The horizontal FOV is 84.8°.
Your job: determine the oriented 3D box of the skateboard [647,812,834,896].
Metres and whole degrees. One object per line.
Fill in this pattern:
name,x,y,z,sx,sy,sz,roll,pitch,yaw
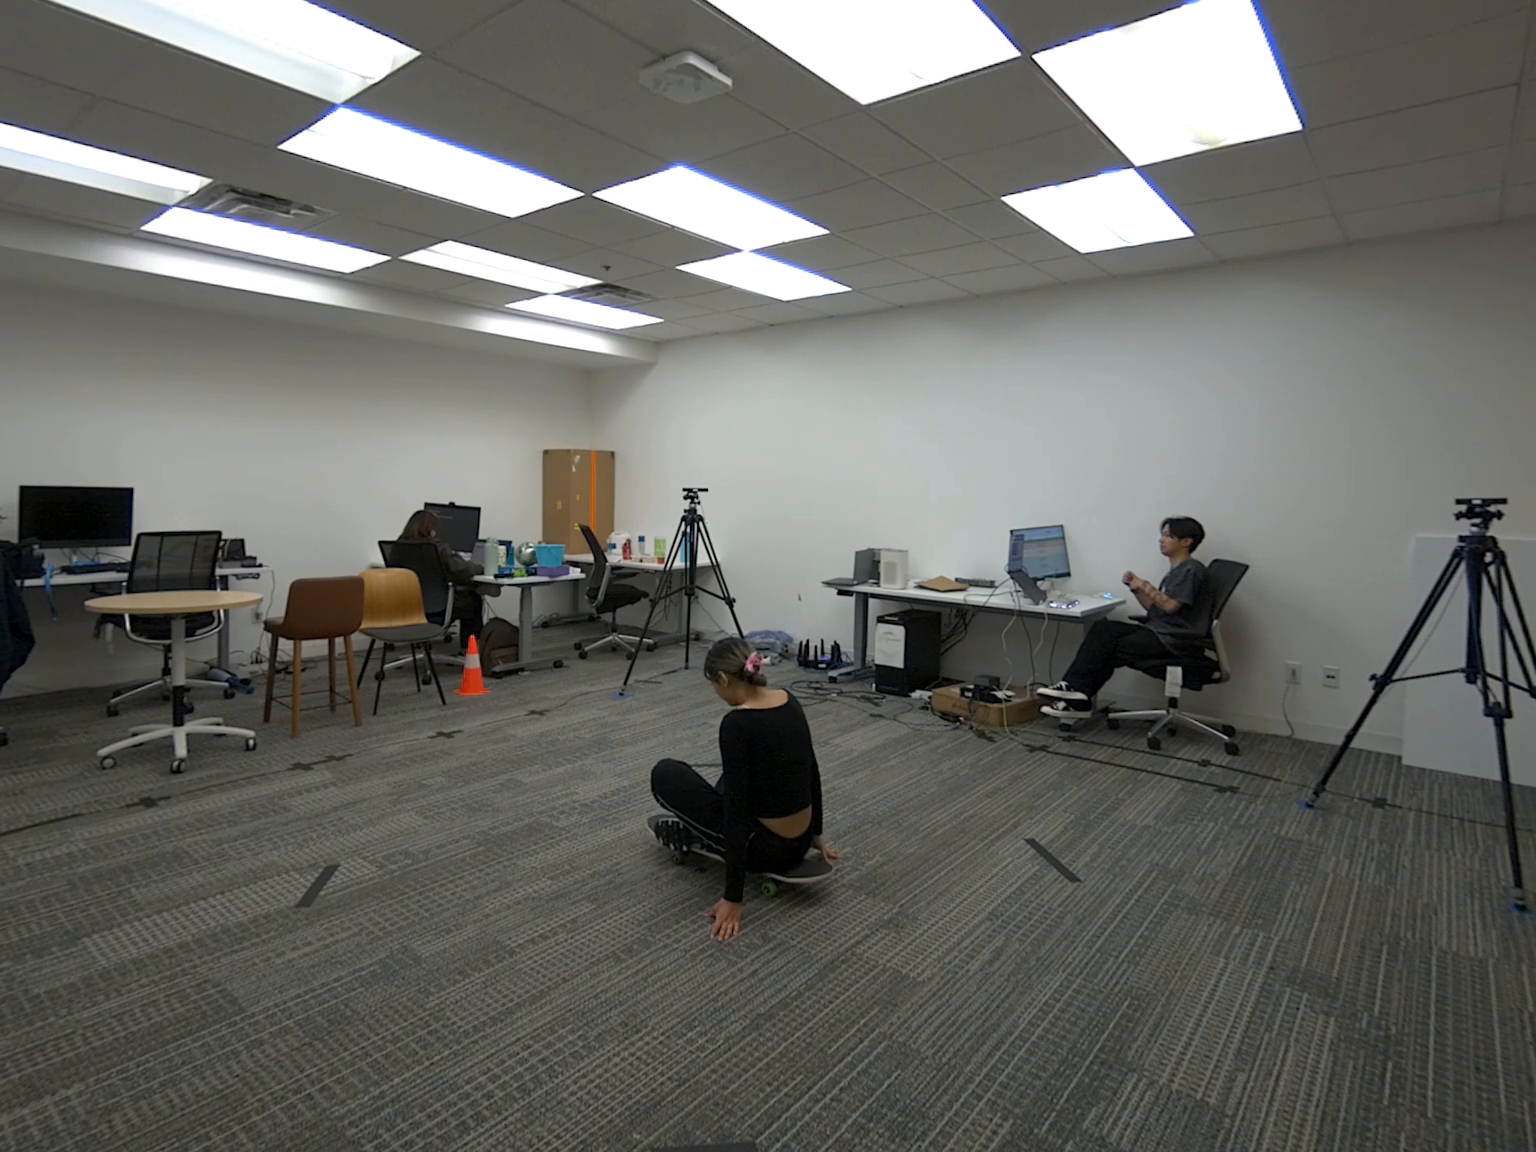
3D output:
skateboard,-0.141,1.012,3.085,0.811,0.110,0.188,7,7,33
